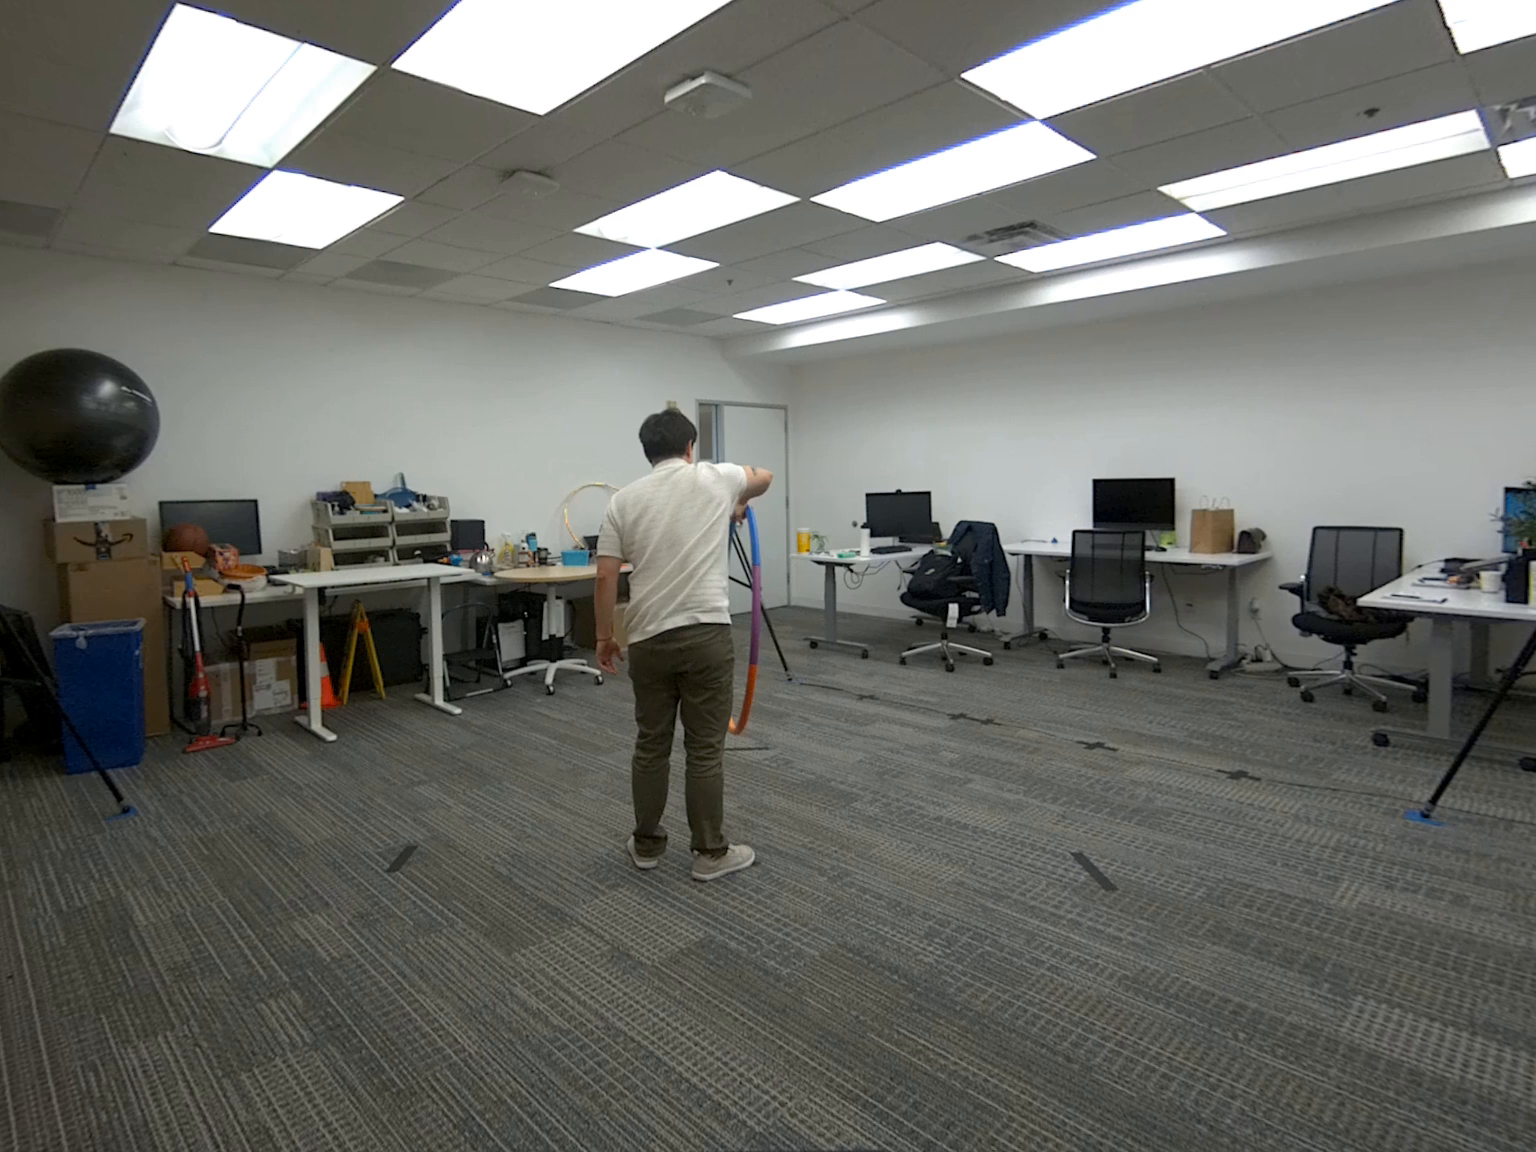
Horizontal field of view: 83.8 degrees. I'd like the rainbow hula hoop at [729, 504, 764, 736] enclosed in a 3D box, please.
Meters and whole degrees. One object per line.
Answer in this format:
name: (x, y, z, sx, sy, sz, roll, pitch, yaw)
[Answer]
rainbow hula hoop: (-0.134, 0.171, 3.667, 0.035, 0.976, 0.991, 3, 4, -11)
